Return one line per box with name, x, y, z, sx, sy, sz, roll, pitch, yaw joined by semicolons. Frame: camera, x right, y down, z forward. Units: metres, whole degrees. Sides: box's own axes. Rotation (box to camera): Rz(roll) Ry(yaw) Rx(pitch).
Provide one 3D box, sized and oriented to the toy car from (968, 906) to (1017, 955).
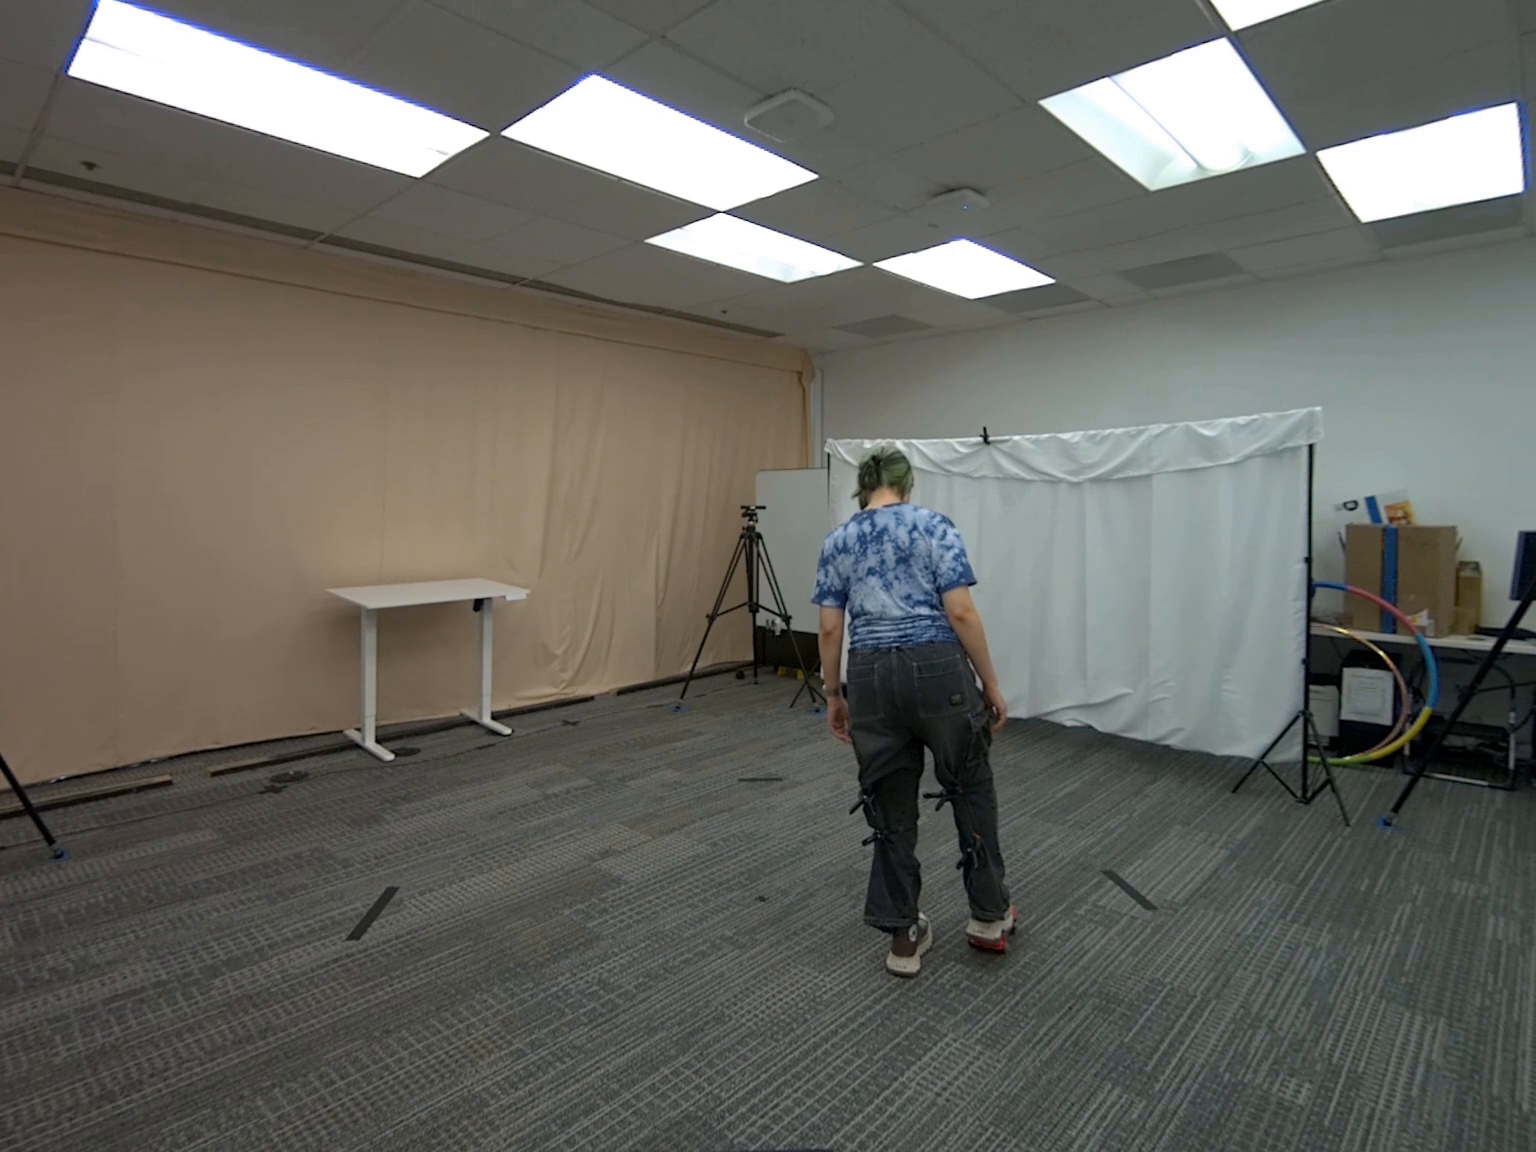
toy car;0.739;1.135;2.721;0.134;0.082;0.250;4;19;27
